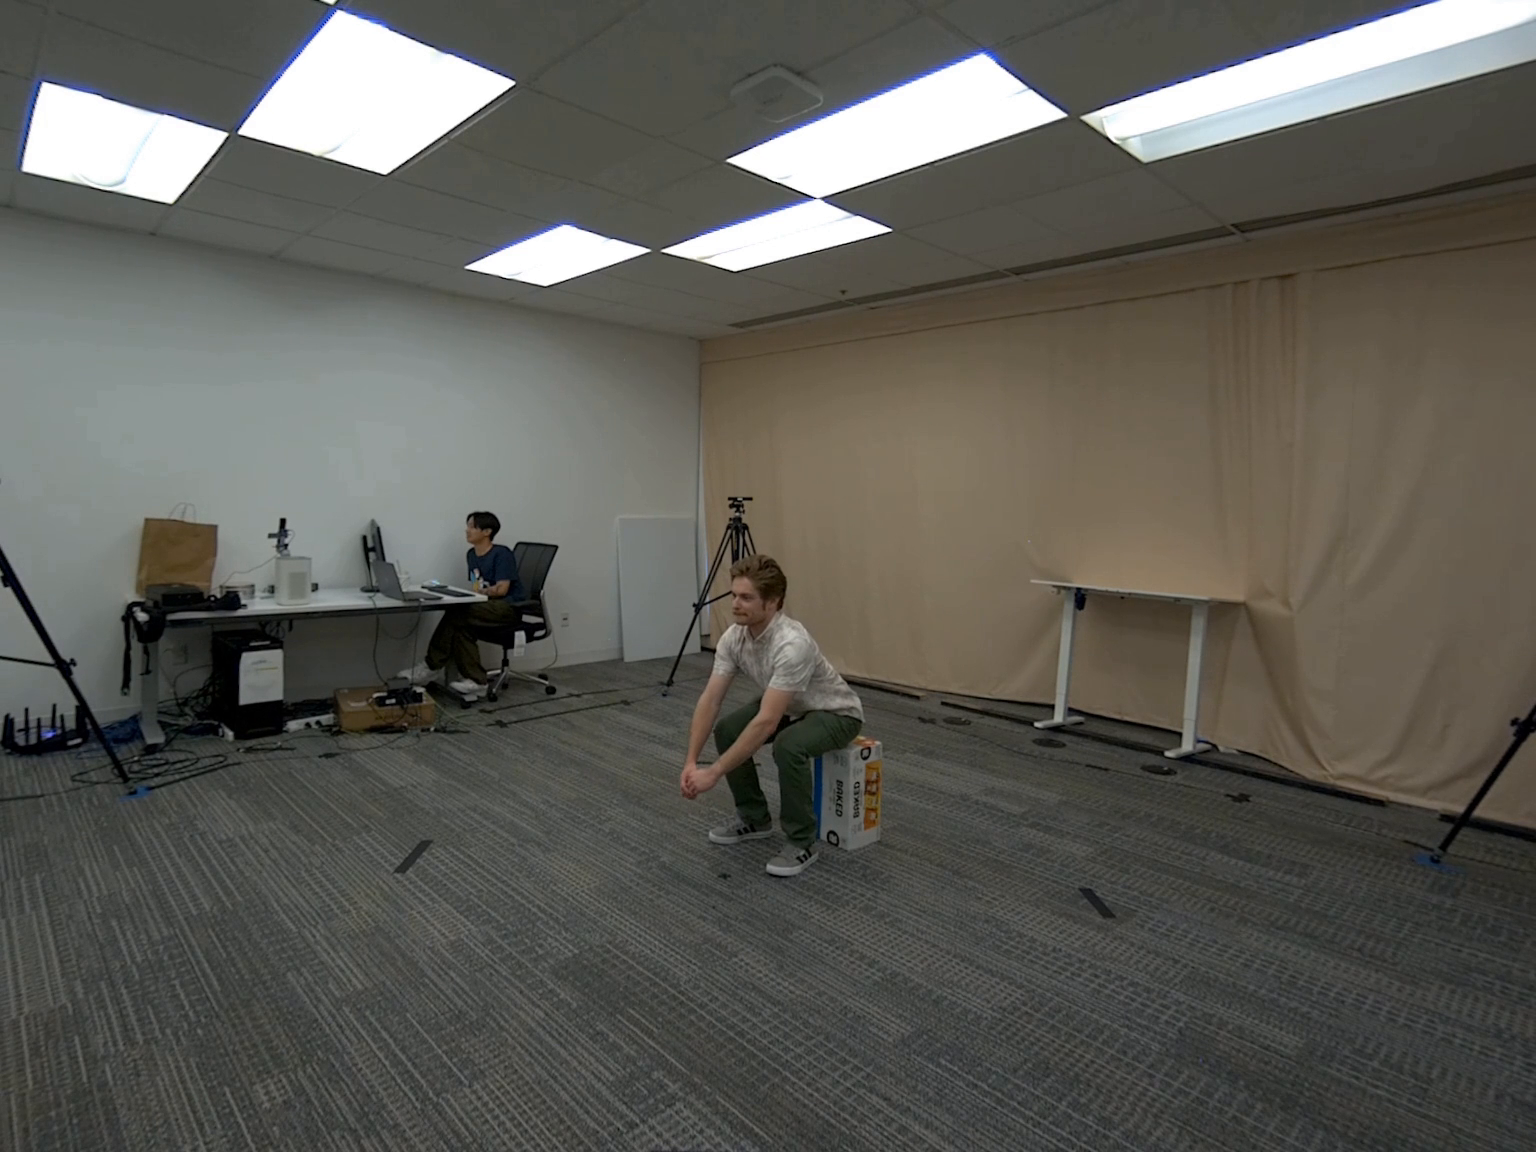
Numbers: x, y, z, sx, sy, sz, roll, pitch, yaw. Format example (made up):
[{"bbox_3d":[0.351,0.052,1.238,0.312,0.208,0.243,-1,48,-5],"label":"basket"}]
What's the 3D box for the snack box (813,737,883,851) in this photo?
[{"bbox_3d":[0.274,0.880,3.537,0.201,0.404,0.349,-2,5,-41],"label":"snack box"}]
